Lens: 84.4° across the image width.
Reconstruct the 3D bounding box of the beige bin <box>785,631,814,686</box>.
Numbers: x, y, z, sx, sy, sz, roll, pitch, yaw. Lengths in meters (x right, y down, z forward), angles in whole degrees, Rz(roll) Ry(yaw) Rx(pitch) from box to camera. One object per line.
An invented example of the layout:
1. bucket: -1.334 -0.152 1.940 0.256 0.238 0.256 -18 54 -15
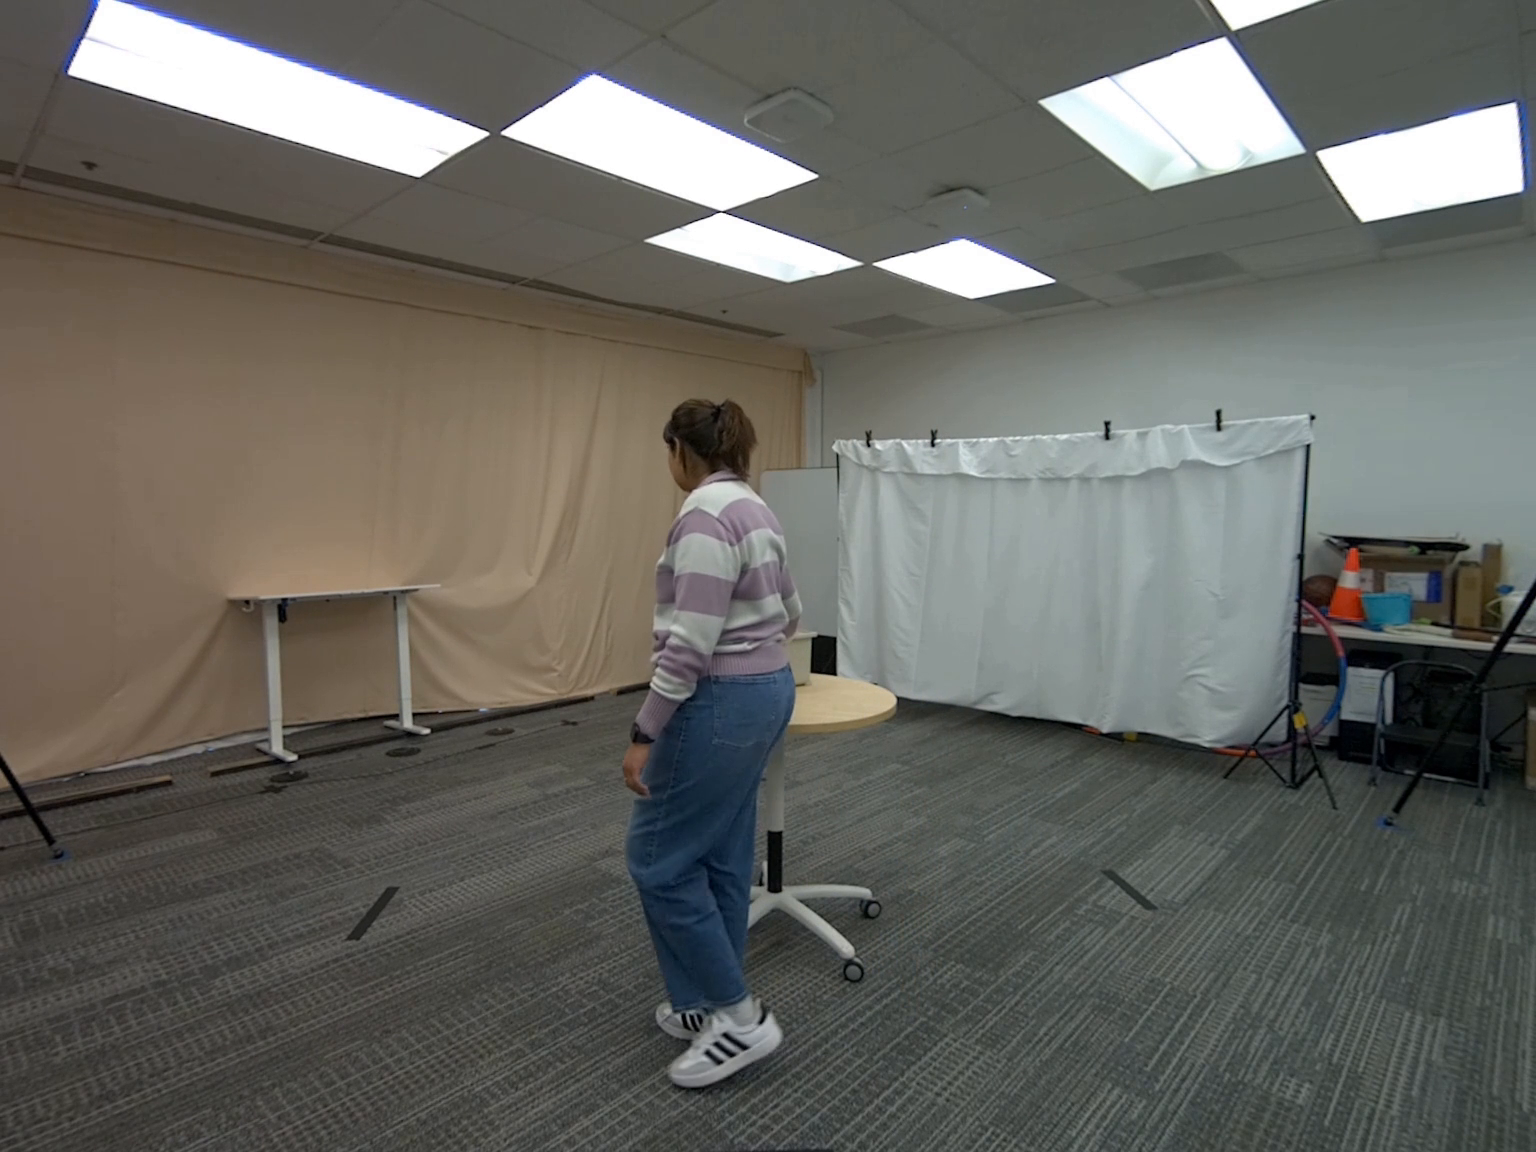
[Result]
1. beige bin: -0.113 0.281 2.884 0.410 0.188 0.390 -3 6 -38
